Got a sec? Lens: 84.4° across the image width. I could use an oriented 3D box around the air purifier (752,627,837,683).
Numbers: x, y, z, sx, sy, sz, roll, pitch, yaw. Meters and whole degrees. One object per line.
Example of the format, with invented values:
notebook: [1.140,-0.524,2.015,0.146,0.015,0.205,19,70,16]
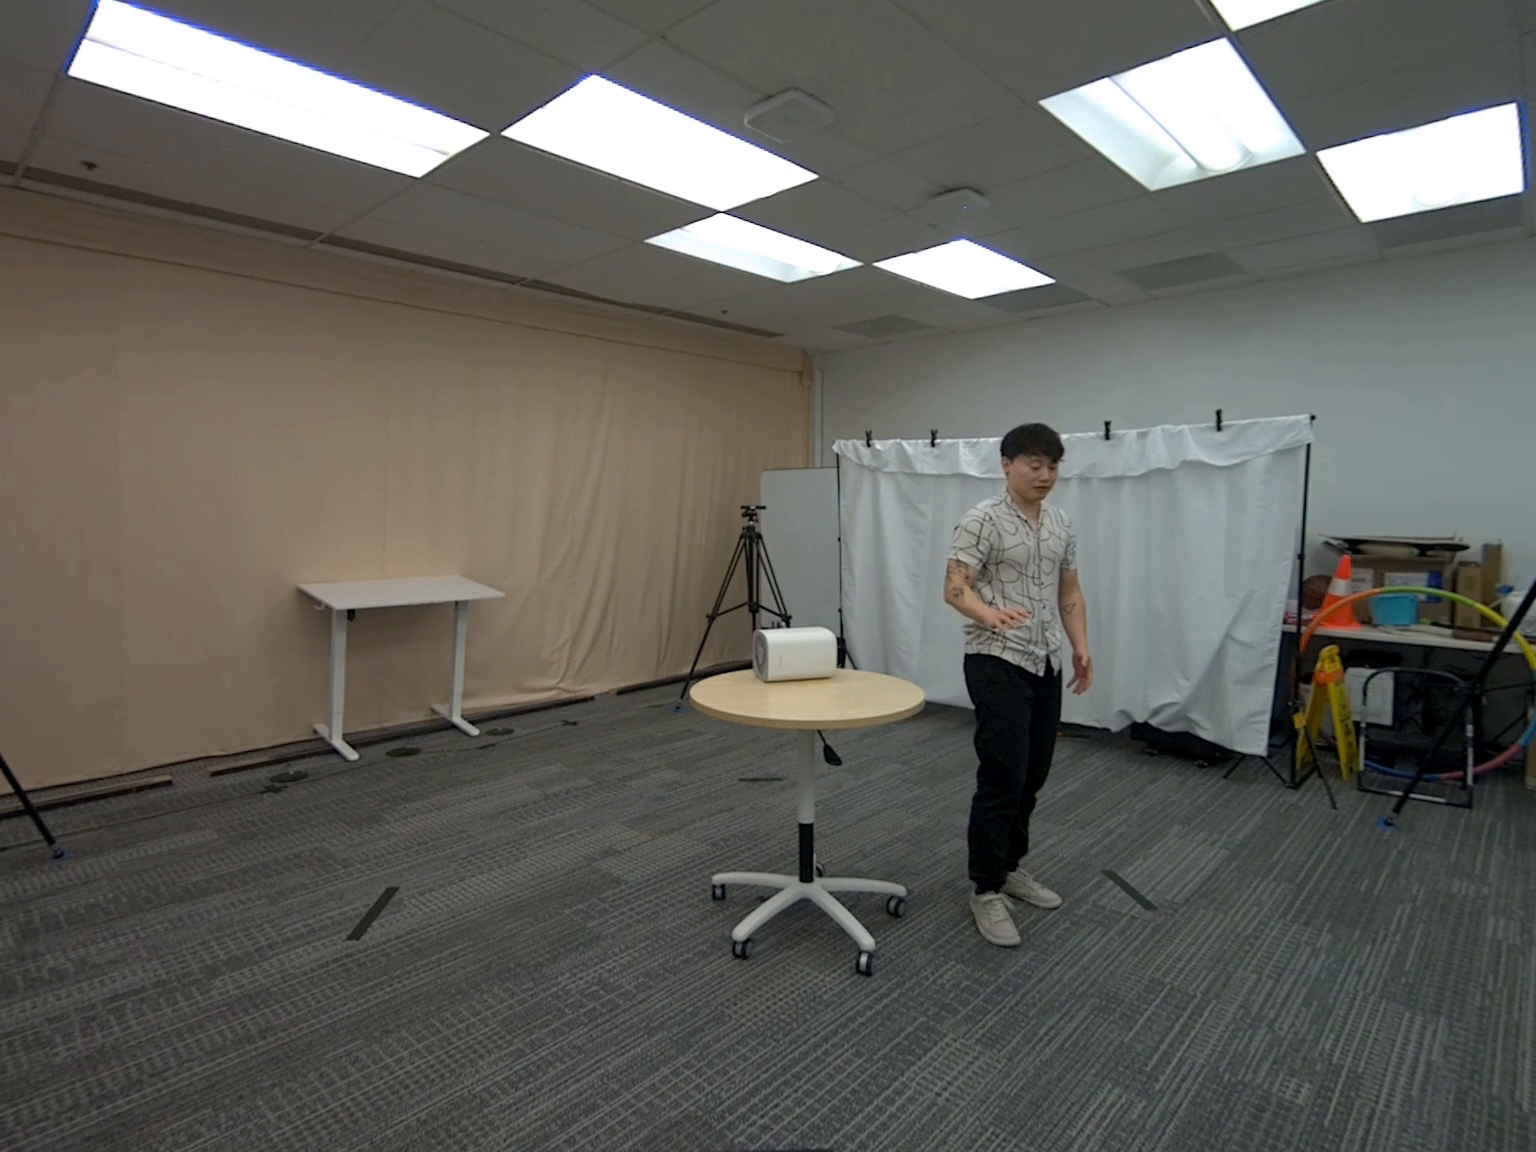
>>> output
air purifier: [0.100,0.275,2.979,0.261,0.170,0.175,-2,4,-16]
